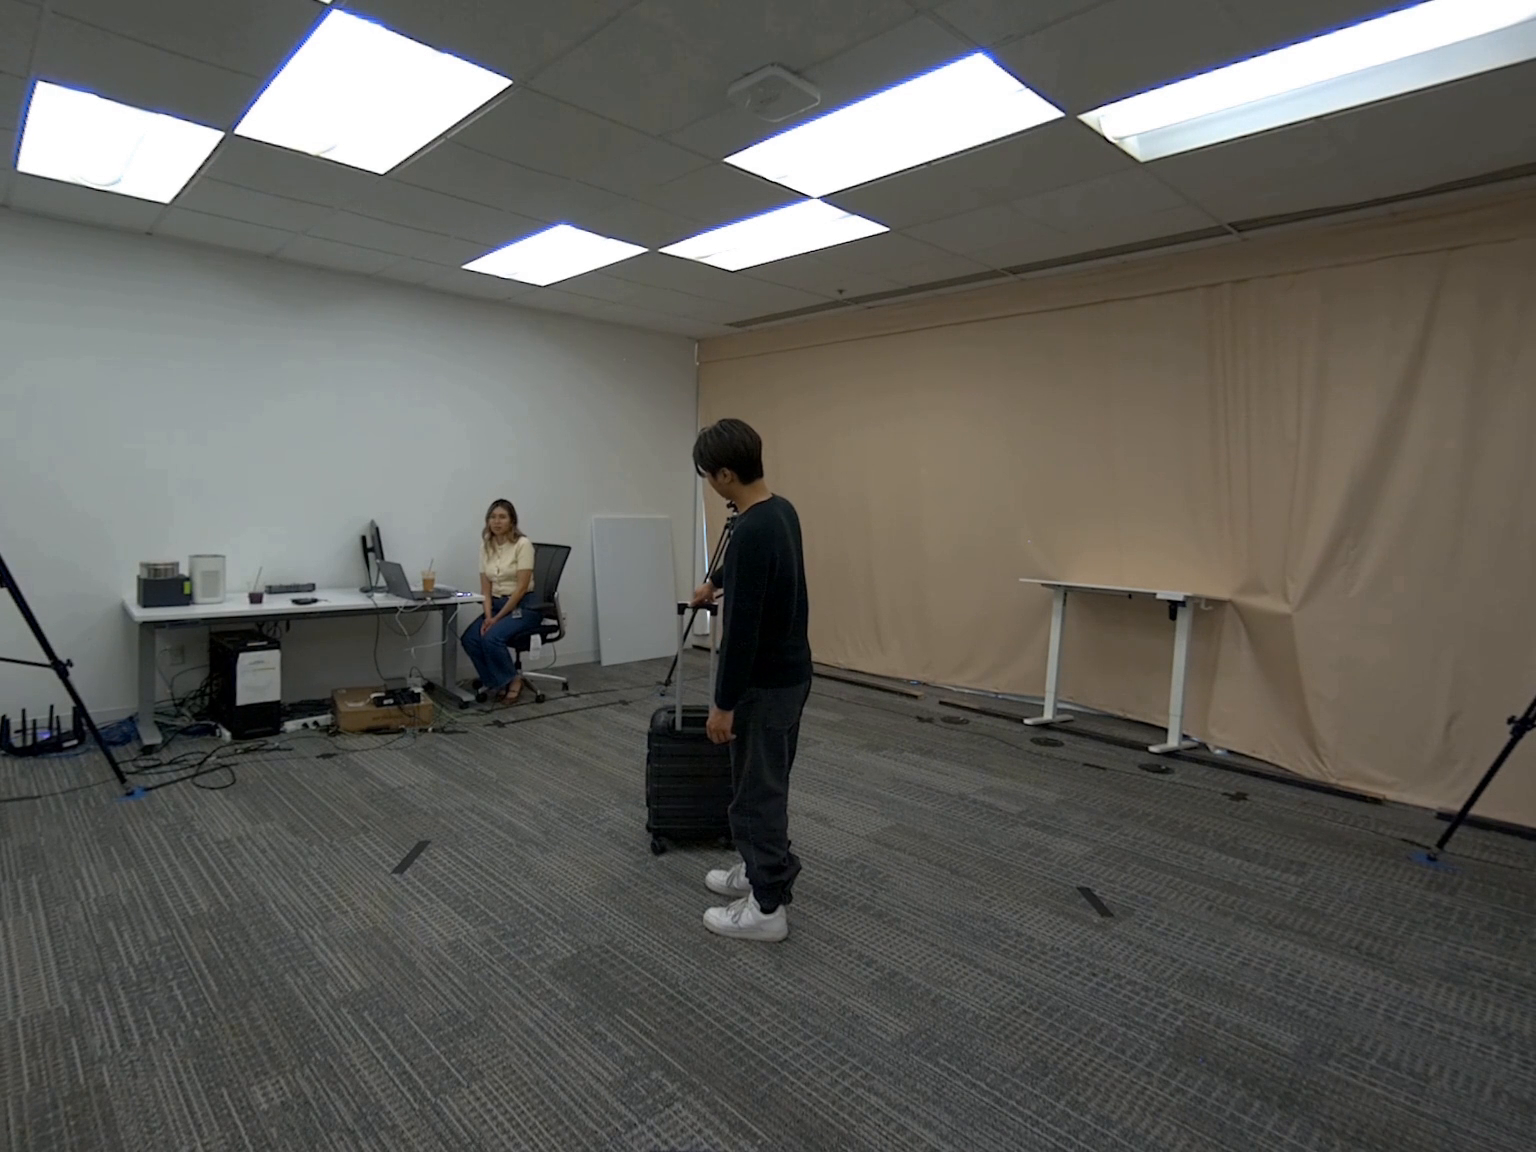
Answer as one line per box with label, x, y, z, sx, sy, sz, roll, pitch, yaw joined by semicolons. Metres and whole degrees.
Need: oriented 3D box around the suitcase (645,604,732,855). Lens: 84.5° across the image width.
suitcase;-0.306;0.597;3.400;0.383;0.978;0.258;2;1;-4
